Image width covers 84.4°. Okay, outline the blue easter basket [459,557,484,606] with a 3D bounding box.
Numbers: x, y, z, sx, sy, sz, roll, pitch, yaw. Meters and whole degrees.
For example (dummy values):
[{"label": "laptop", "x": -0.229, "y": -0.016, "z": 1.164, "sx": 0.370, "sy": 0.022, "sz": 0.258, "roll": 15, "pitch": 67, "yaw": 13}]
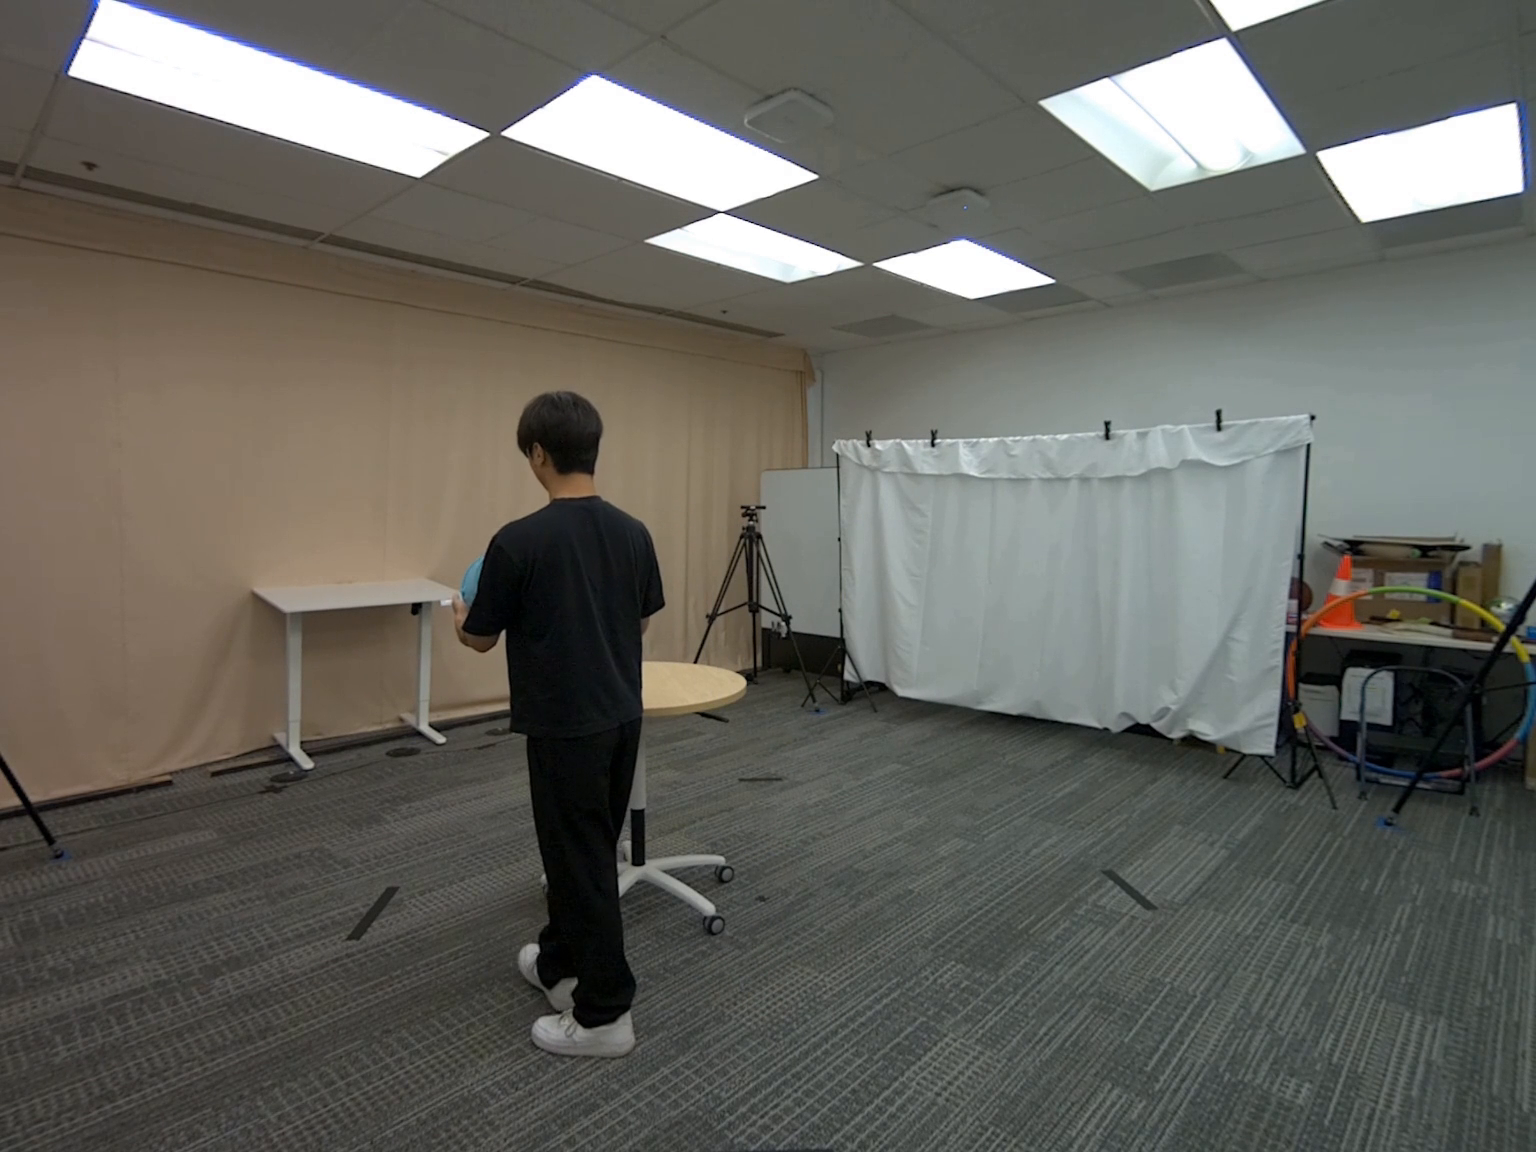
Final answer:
[{"label": "blue easter basket", "x": -0.748, "y": 0.031, "z": 2.396, "sx": 0.238, "sy": 0.246, "sz": 0.158, "roll": -2, "pitch": -12, "yaw": -24}]
